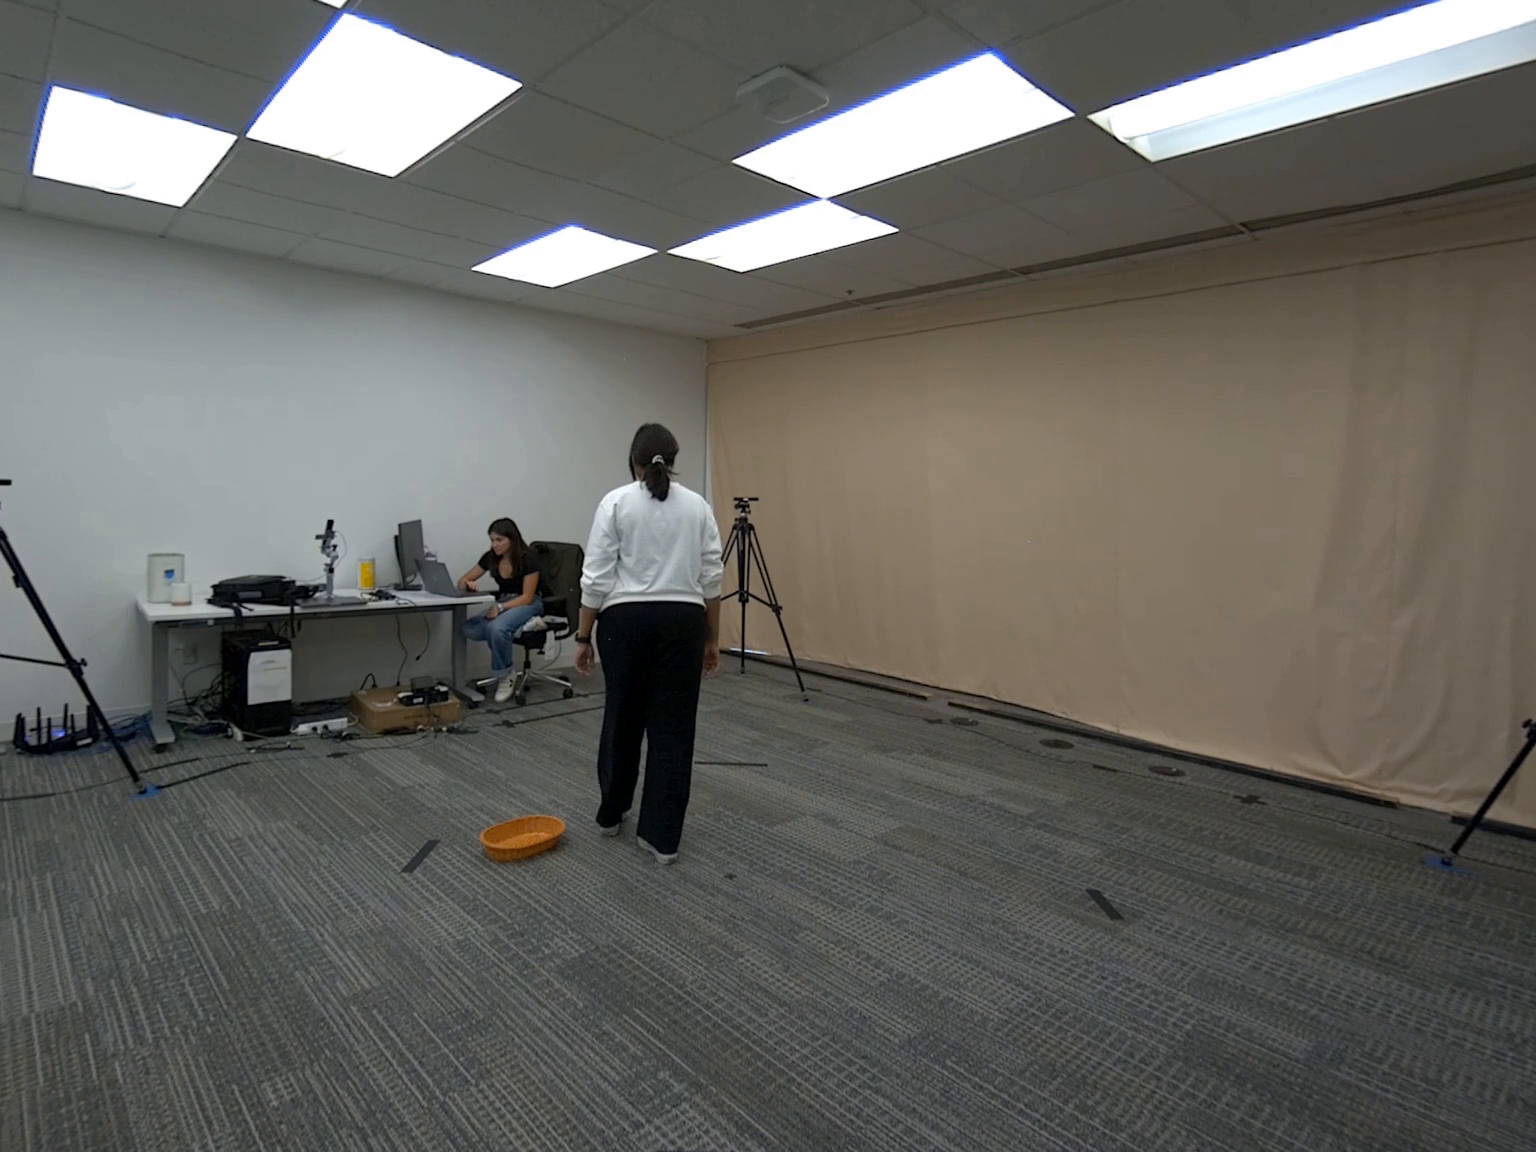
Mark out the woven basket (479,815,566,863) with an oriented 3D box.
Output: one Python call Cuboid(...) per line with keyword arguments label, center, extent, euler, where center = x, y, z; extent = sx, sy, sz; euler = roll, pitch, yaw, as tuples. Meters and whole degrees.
Cuboid(label="woven basket", center=(-0.961, 1.029, 3.304), extent=(0.259, 0.073, 0.342), euler=(7, 8, 43))
